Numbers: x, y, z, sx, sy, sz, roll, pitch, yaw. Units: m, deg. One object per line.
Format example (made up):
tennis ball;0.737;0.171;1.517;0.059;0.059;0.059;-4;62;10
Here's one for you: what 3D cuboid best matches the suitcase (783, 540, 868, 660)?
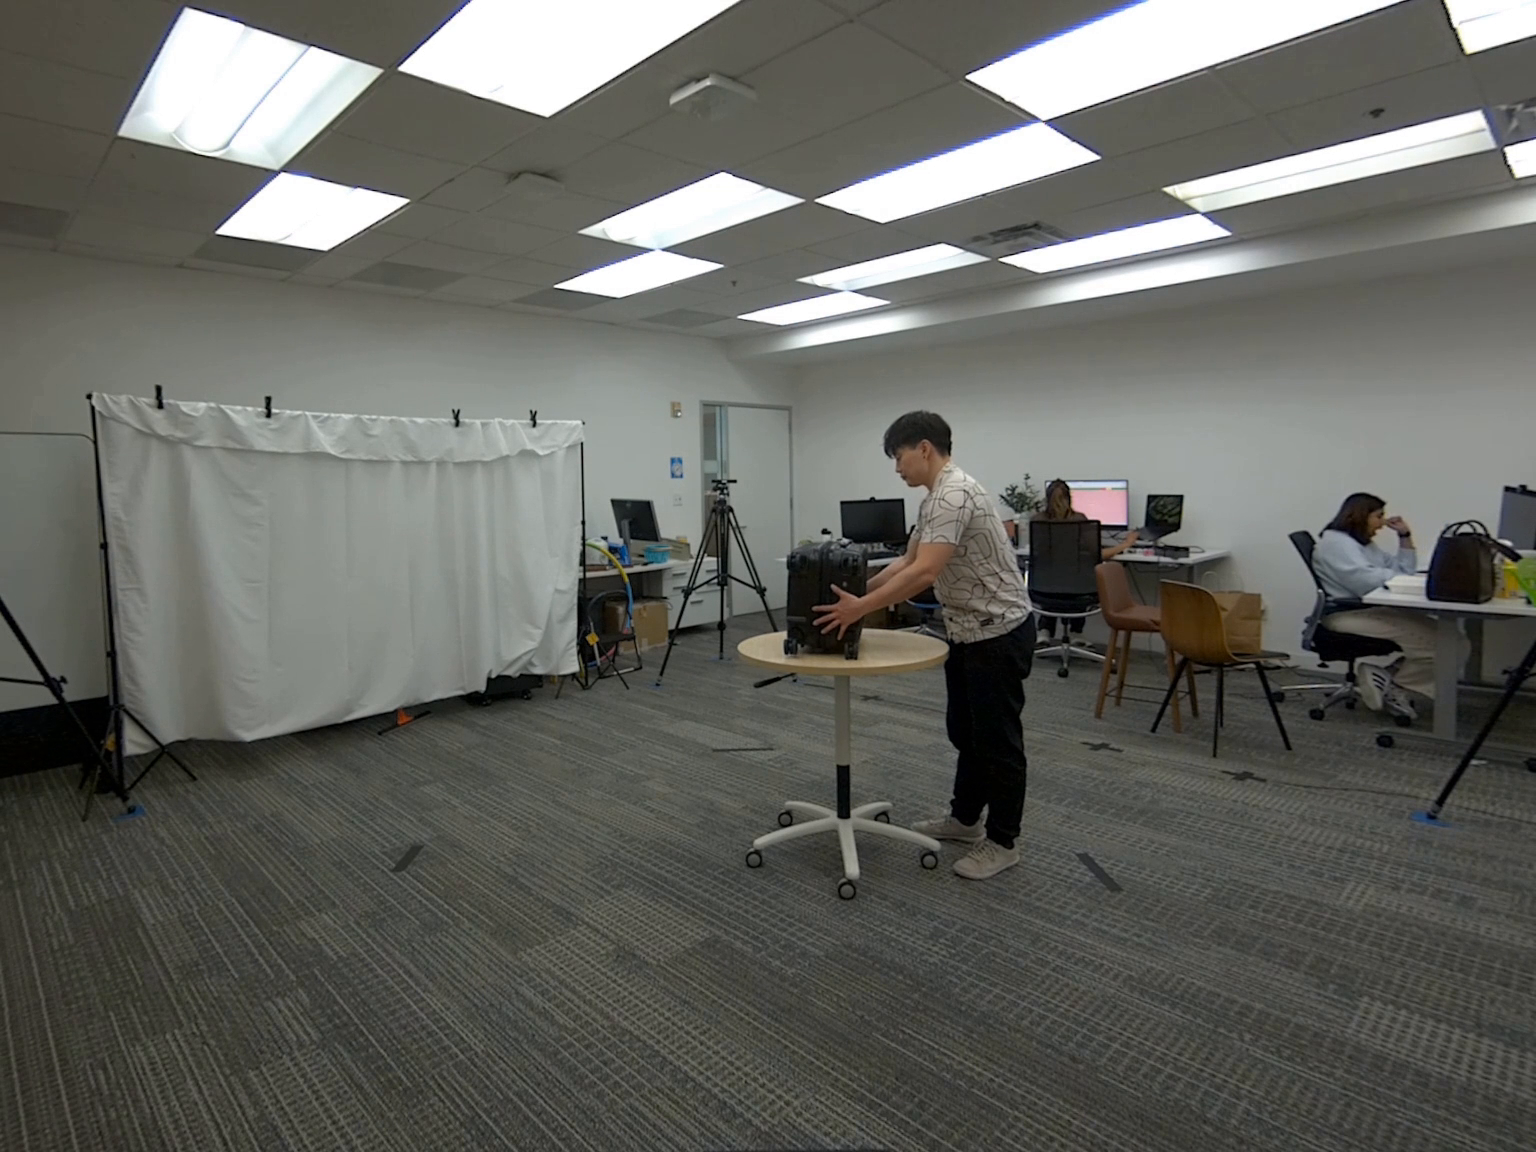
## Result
suitcase;0.224;0.054;3.150;0.251;0.373;0.546;2;7;9
